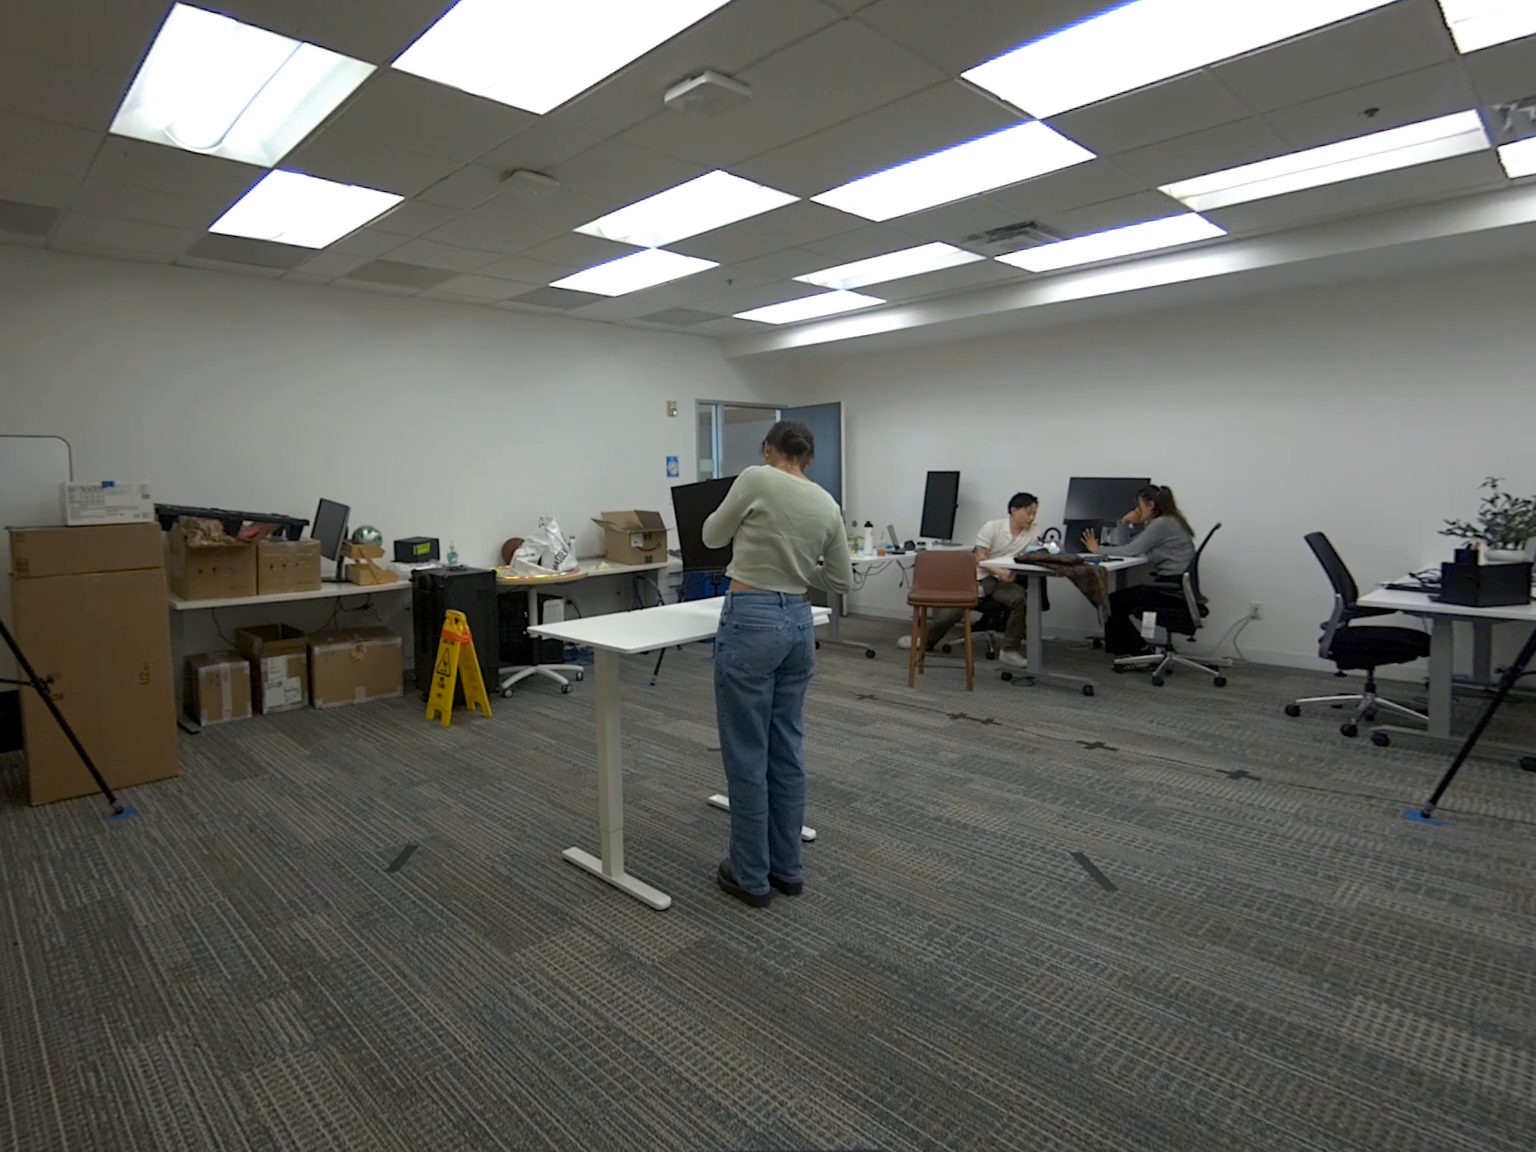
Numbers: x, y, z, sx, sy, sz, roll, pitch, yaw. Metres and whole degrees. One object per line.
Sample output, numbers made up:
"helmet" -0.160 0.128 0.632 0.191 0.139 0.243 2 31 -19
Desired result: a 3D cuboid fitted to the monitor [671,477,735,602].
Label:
"monitor" -0.124 -0.128 3.309 0.185 0.514 0.553 -31 18 -38
